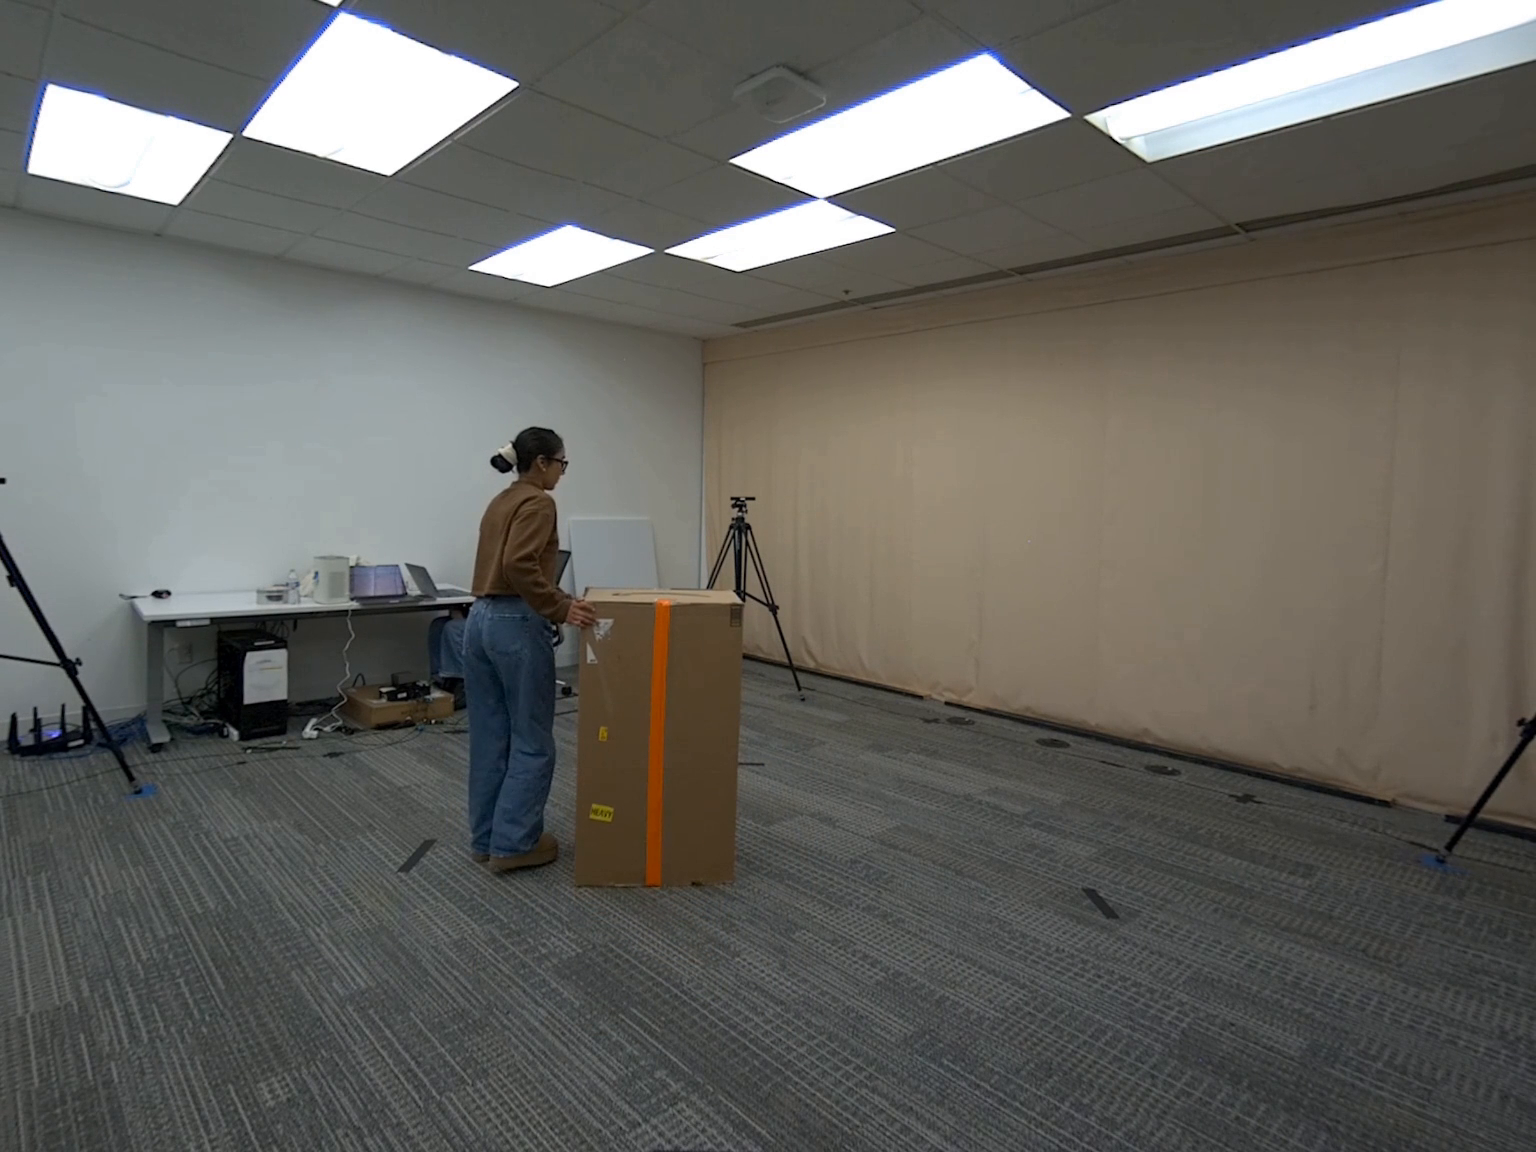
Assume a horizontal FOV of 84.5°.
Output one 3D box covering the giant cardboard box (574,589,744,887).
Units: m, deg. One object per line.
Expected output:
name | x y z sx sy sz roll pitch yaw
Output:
giant cardboard box | -0.423 0.585 3.190 0.574 1.023 0.429 1 3 -7
